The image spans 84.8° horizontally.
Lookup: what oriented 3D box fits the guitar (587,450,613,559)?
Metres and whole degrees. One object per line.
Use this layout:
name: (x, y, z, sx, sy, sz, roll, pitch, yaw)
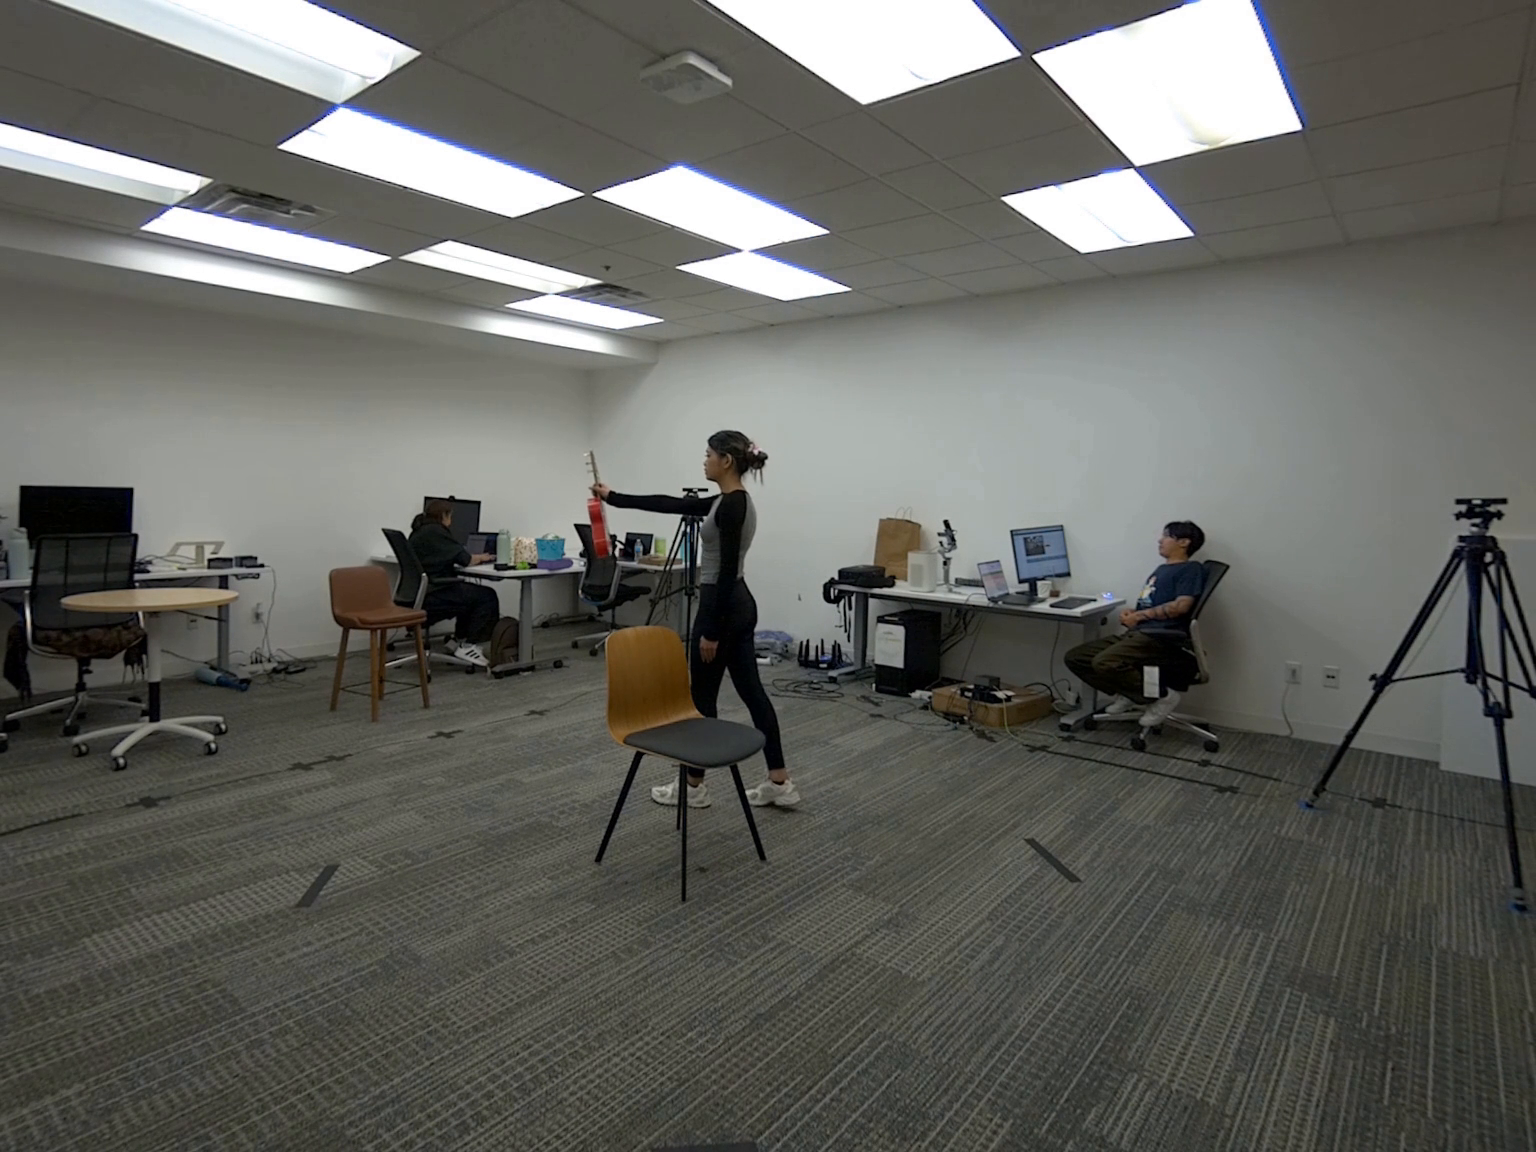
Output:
guitar: (-0.812, -0.336, 3.951, 0.070, 0.499, 0.193, -8, -2, -5)
